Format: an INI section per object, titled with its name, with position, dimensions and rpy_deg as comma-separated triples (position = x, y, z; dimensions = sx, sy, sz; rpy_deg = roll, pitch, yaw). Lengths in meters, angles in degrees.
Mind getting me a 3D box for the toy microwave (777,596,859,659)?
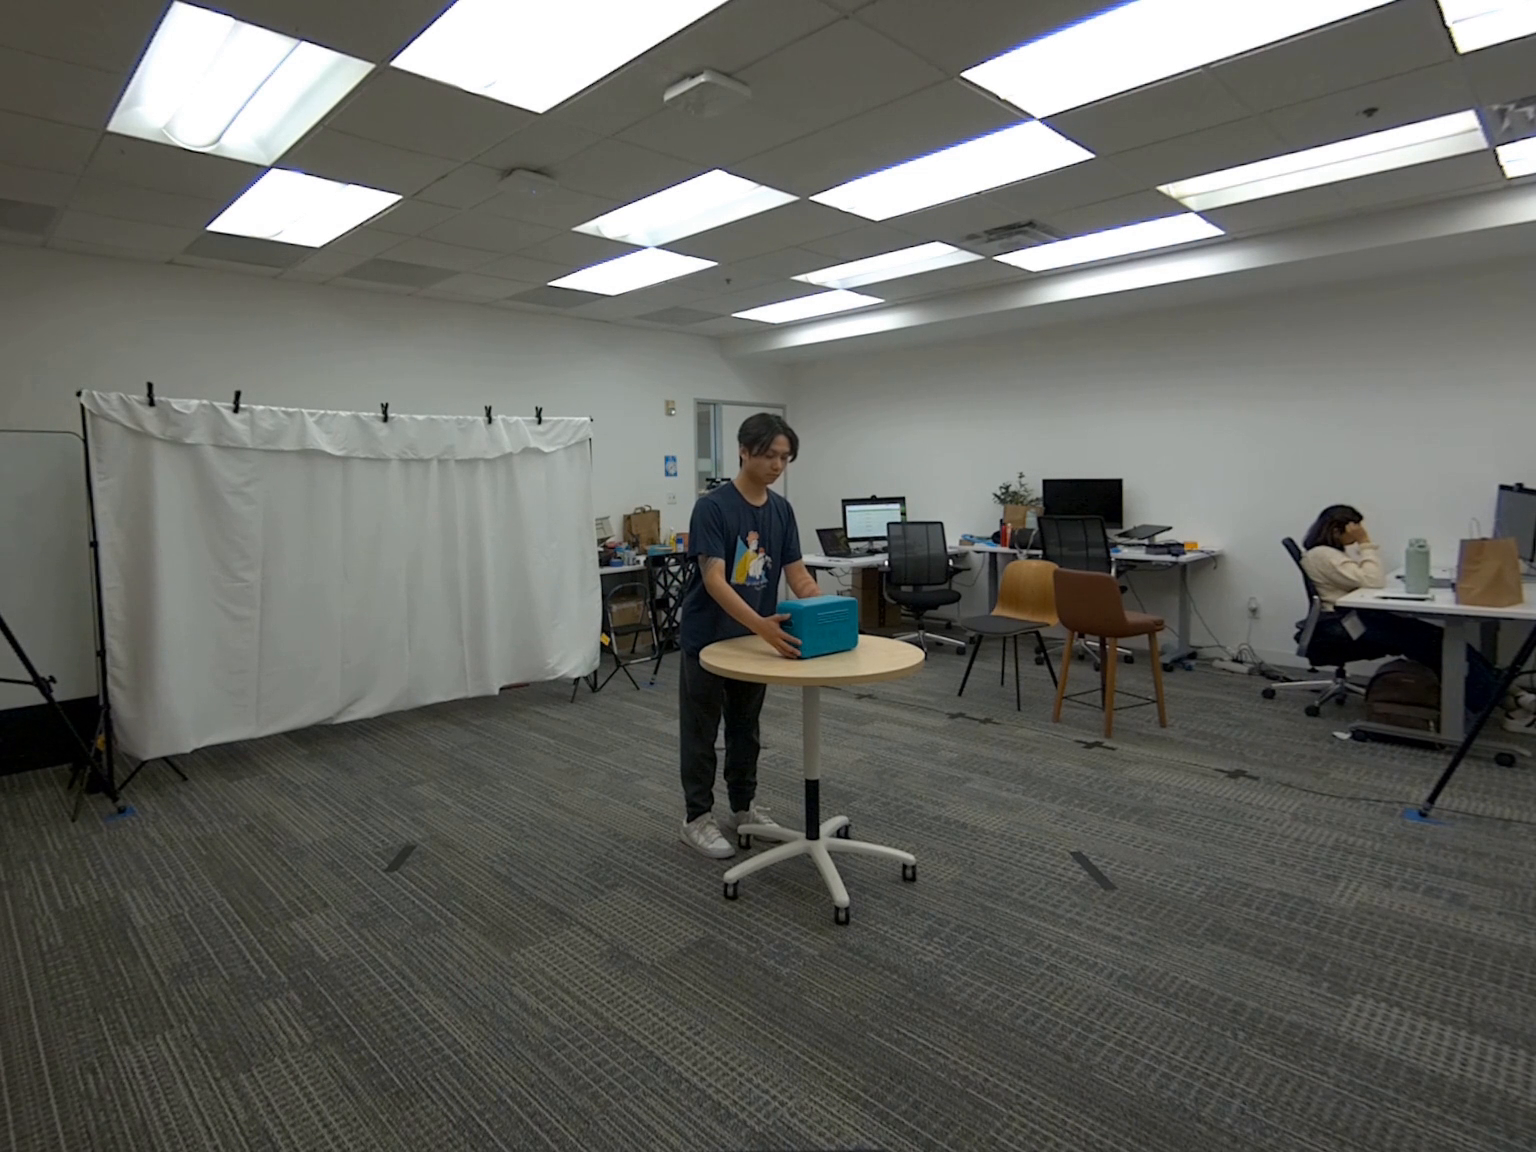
[toy microwave]
position = 0.169, 0.176, 2.925
dimensions = 0.279, 0.183, 0.157
rpy_deg = -4, 6, -37
